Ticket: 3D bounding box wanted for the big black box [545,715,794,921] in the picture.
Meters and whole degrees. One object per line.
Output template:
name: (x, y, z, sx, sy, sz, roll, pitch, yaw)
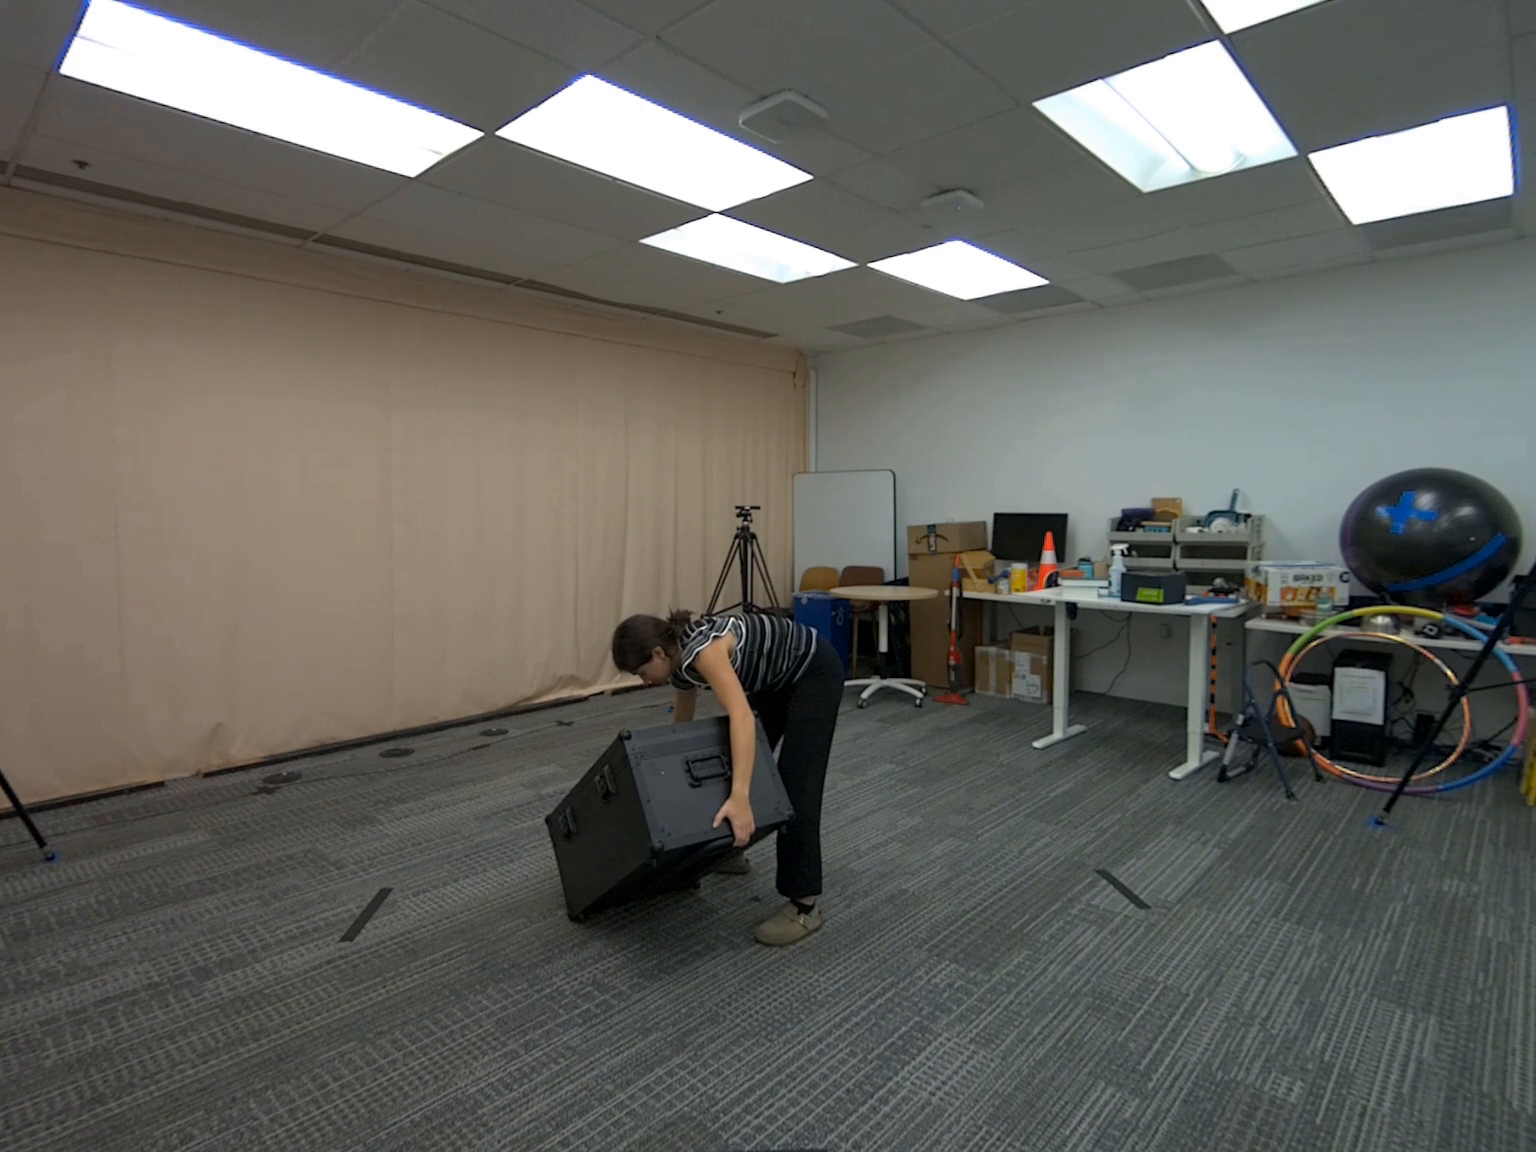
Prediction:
big black box: (-0.369, 0.820, 2.771, 0.506, 0.405, 0.867, -2, -30, -33)
